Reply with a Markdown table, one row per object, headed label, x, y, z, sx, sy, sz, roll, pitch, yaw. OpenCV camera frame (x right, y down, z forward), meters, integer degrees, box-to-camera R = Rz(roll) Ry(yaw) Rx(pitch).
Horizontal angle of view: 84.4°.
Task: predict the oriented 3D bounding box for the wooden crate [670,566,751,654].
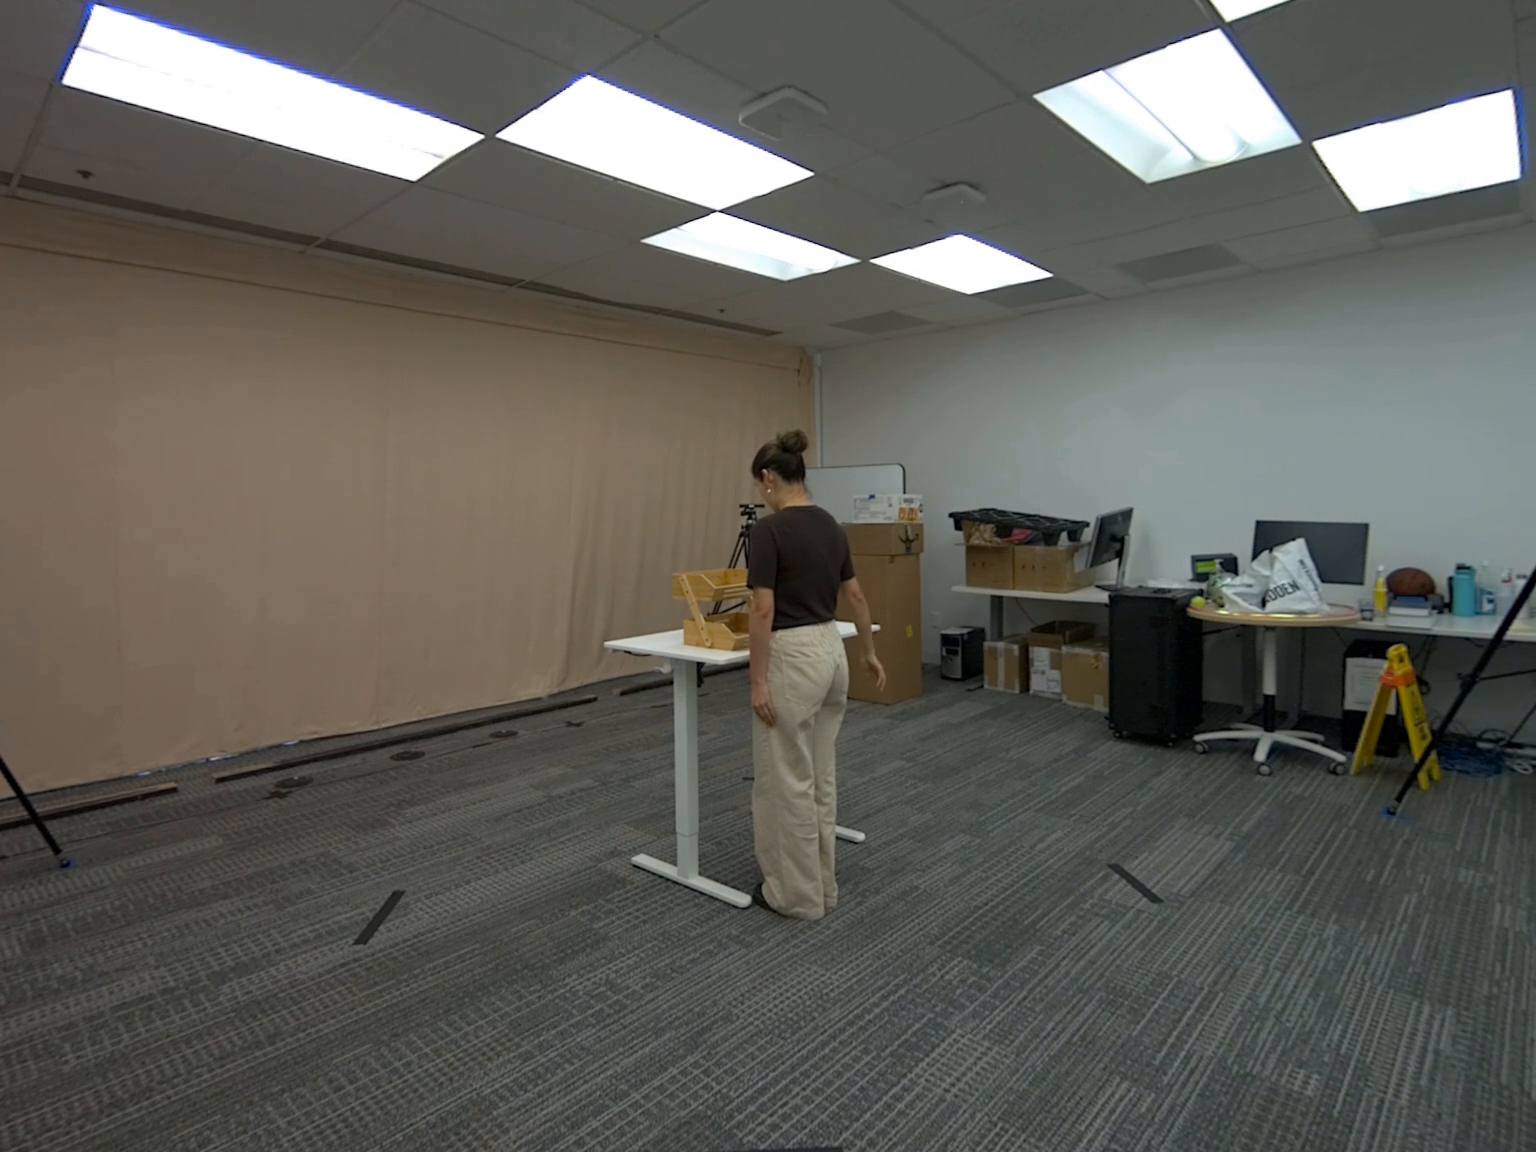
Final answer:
| label | x | y | z | sx | sy | sz | roll | pitch | yaw |
| --- | --- | --- | --- | --- | --- | --- | --- | --- | --- |
| wooden crate | -0.136 | 0.112 | 3.121 | 0.312 | 0.273 | 0.315 | 1 | 4 | 39 |
